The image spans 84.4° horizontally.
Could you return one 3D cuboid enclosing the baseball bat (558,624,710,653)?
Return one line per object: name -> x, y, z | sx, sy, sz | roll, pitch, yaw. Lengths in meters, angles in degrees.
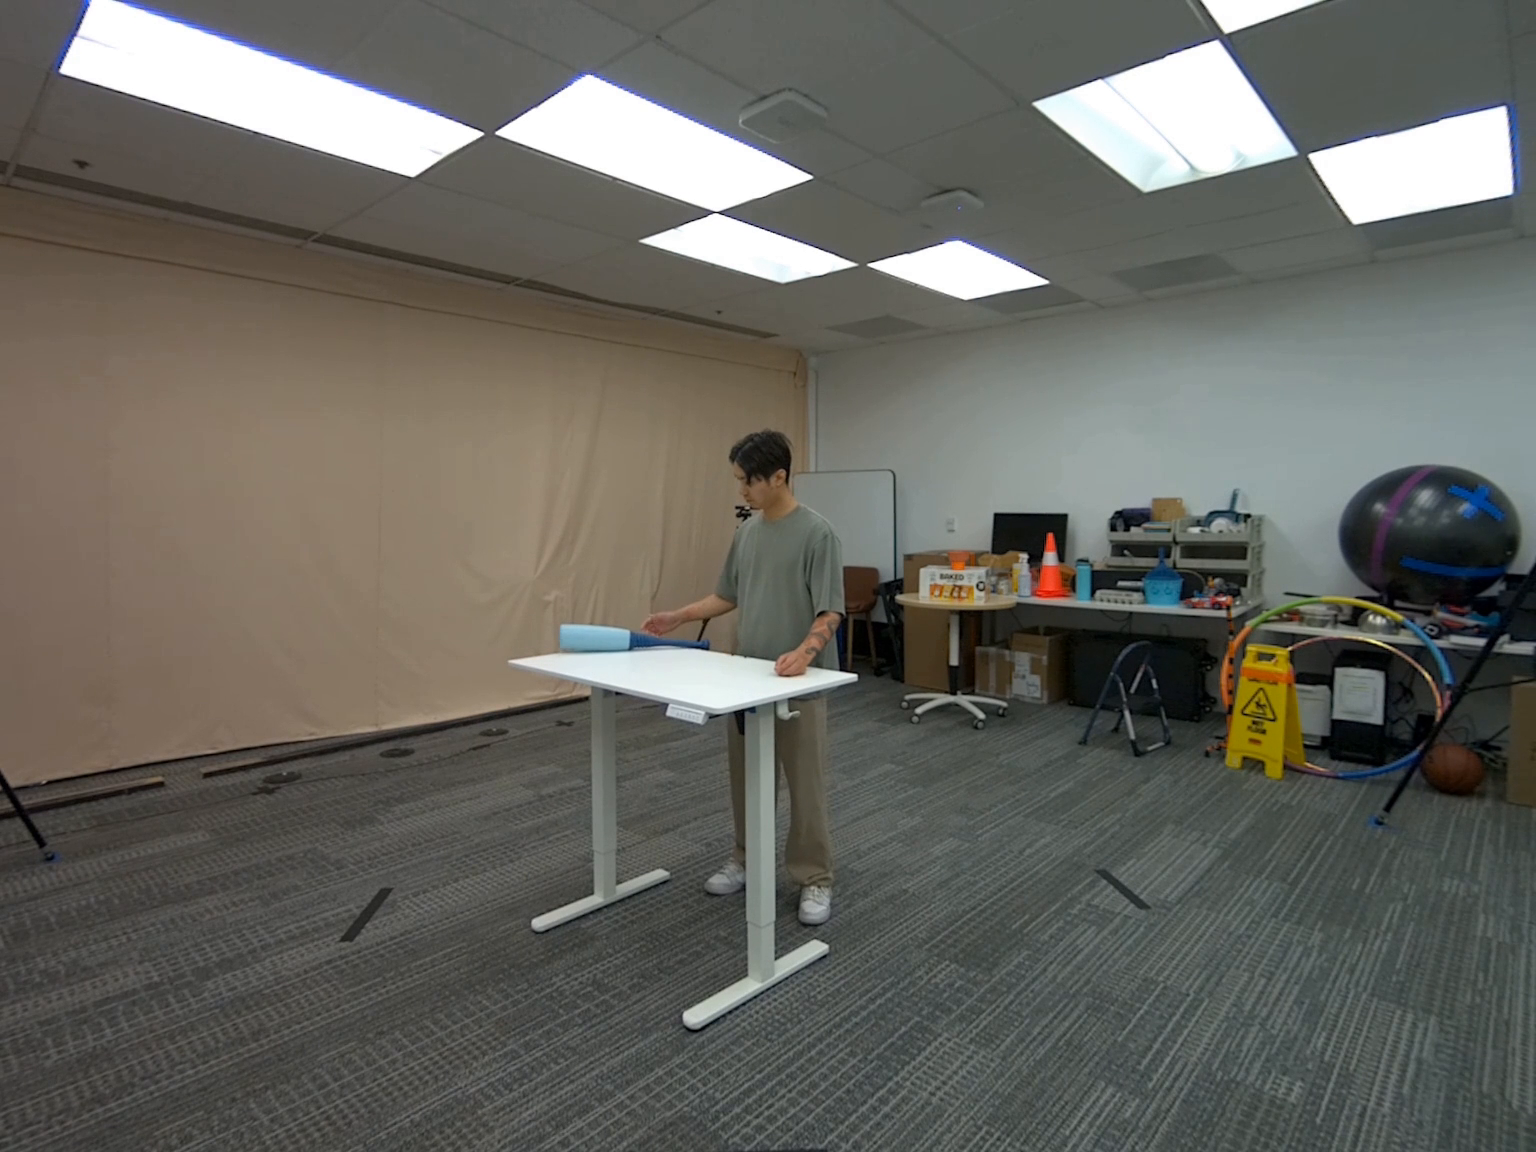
baseball bat -> -0.473, 0.240, 3.014 | 0.537, 0.089, 0.090 | 5, 3, -10
